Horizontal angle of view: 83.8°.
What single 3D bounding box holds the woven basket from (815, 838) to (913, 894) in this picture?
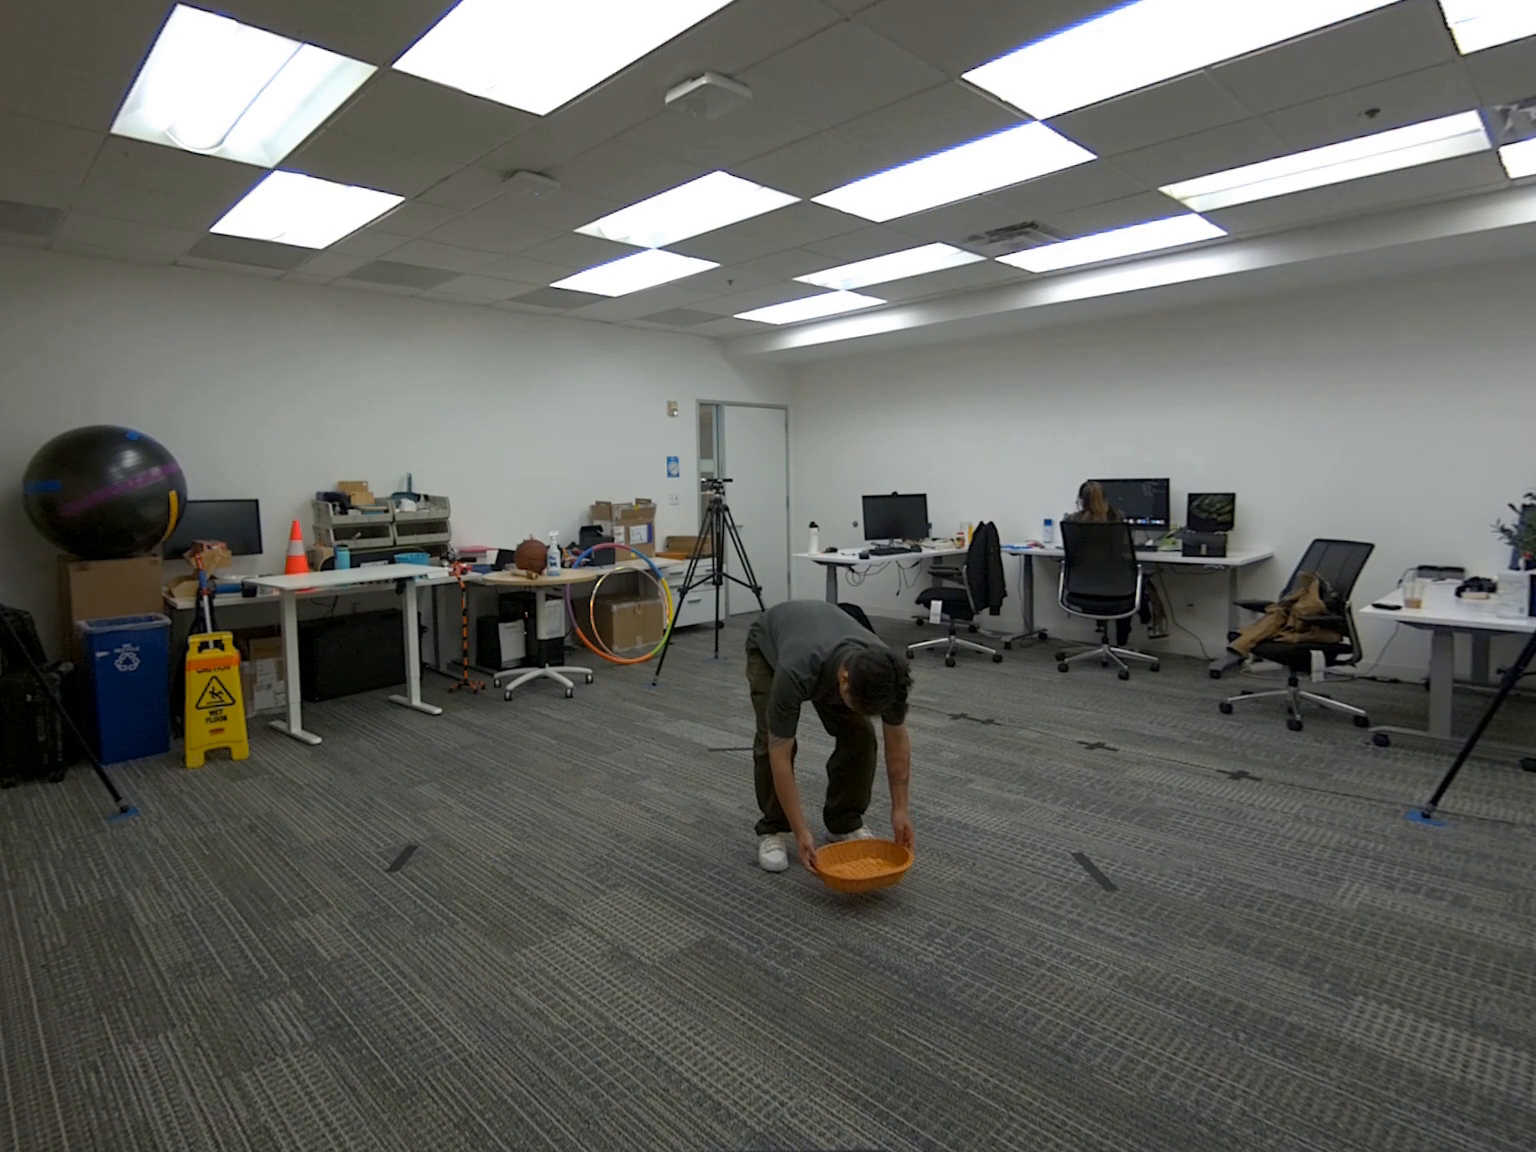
[{"bbox_3d":[0.314,0.959,2.832,0.345,0.073,0.258,-3,9,-18],"label":"woven basket"}]
